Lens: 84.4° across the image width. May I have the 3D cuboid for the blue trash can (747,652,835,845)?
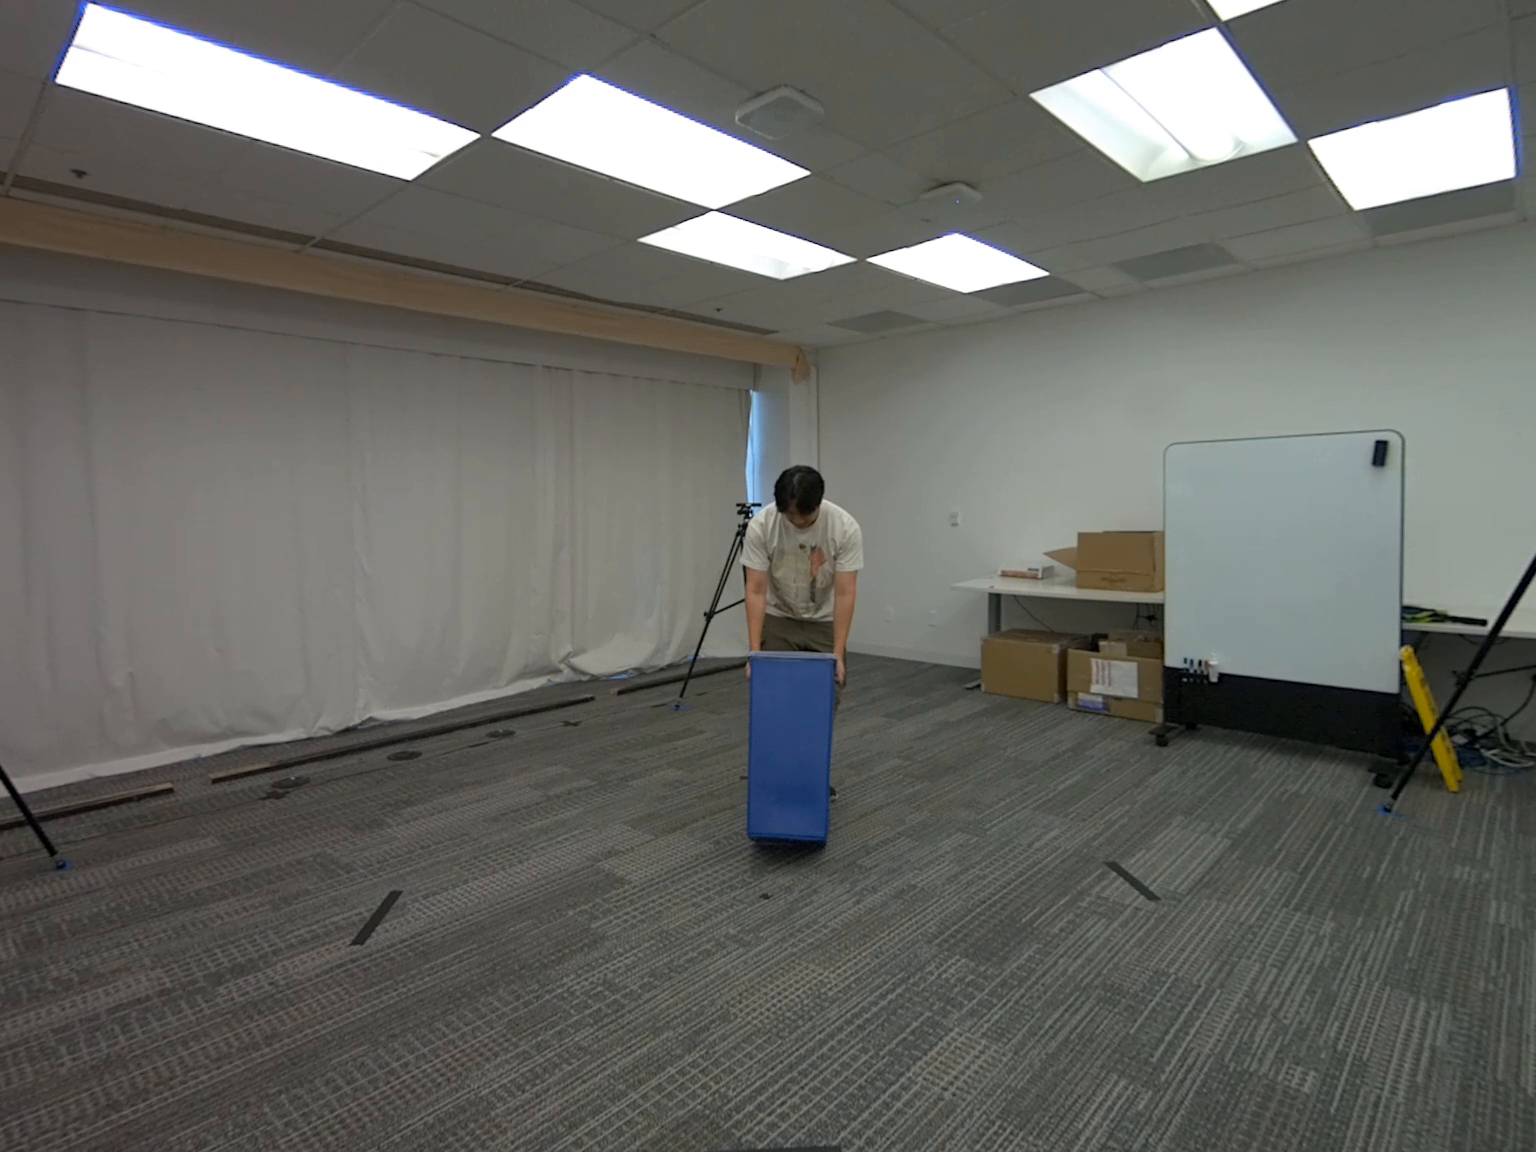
[{"bbox_3d":[0.092,0.705,3.431,0.381,0.722,0.367,1,-23,6],"label":"blue trash can"}]
